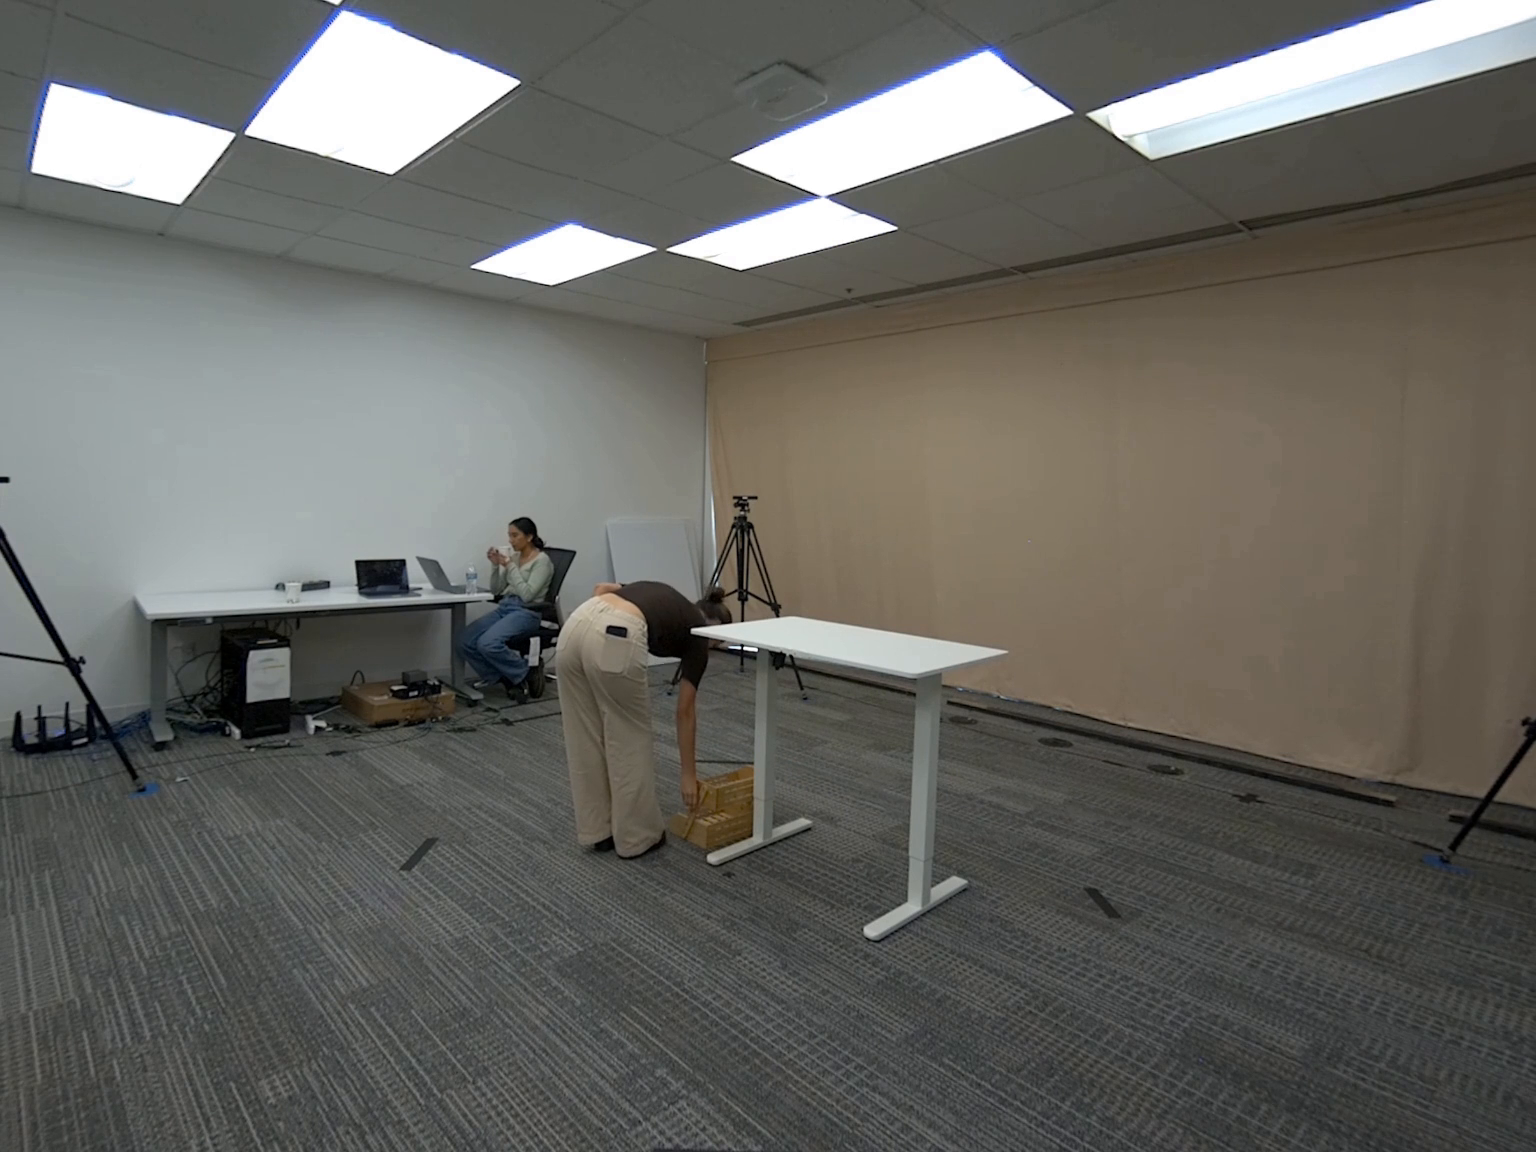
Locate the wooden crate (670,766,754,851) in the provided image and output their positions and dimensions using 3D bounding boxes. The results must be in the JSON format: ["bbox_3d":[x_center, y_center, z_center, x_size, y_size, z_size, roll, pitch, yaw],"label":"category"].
[{"bbox_3d":[-0.212,0.935,3.486,0.317,0.272,0.310,-2,6,-45],"label":"wooden crate"}]
